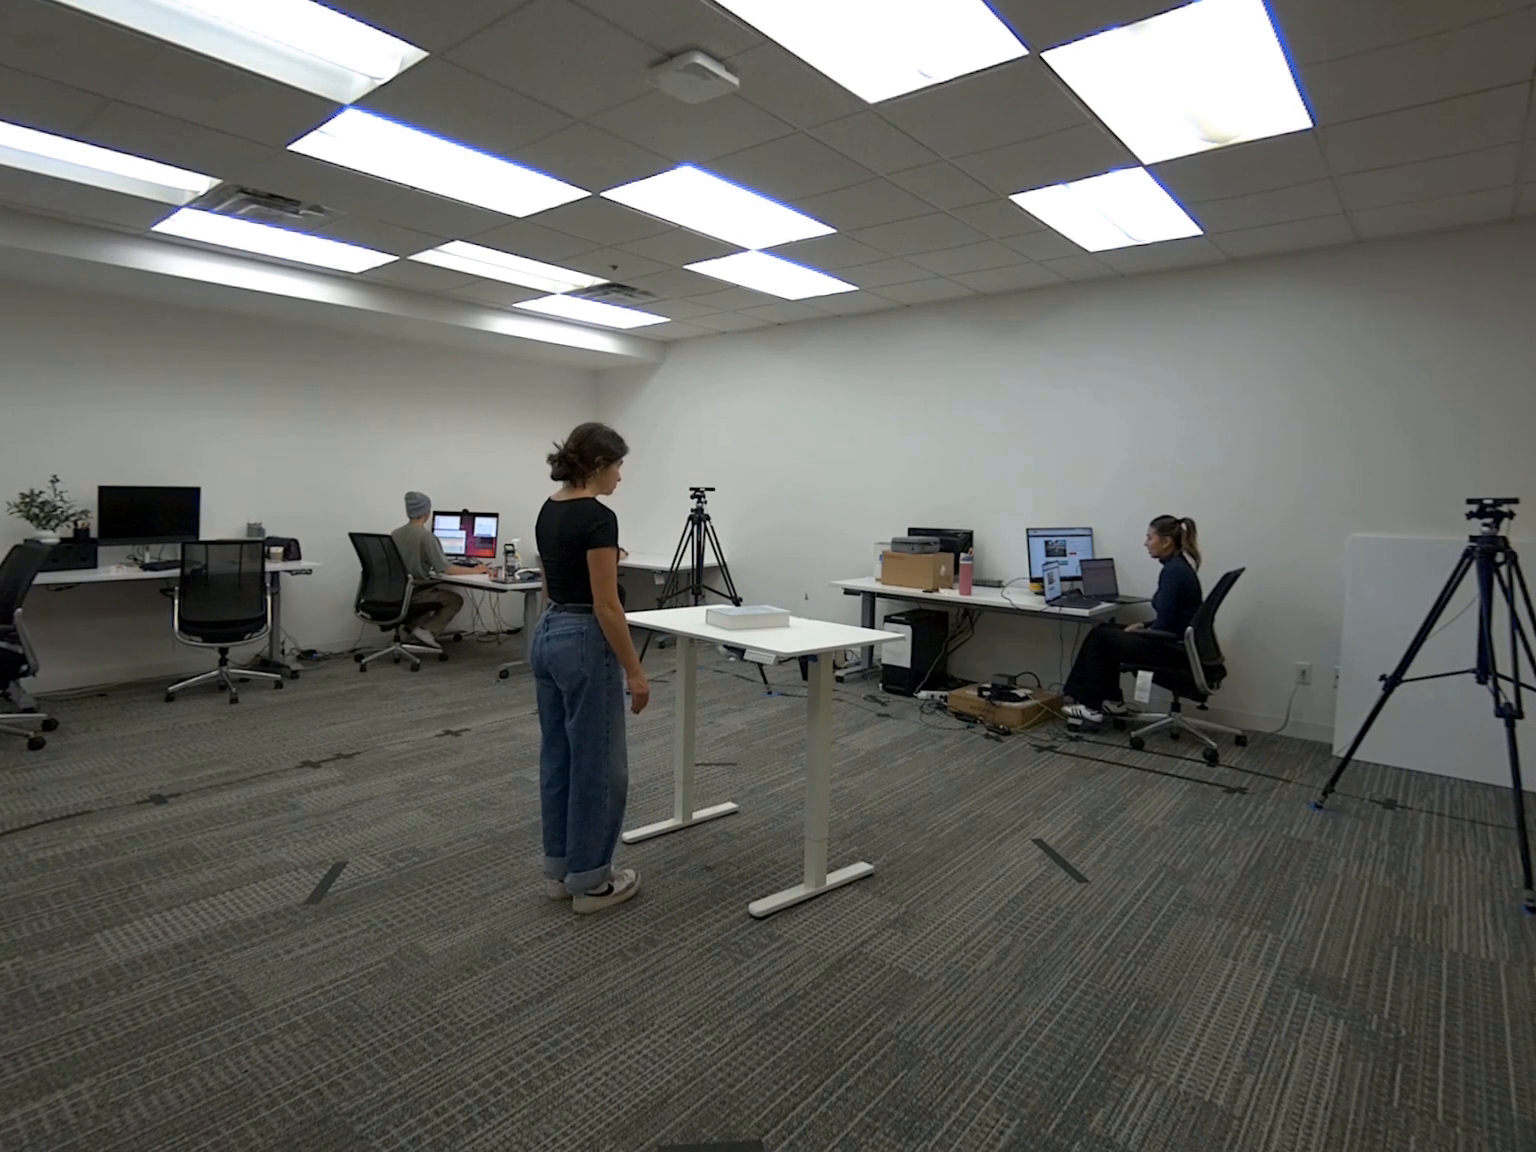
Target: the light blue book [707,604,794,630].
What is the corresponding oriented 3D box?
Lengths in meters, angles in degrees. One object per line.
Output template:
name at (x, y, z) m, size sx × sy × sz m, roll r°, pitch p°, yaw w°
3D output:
light blue book at (-0.069, 0.150, 3.175) m, size 0.254 × 0.059 × 0.197 m, roll -2°, pitch 6°, yaw -30°
